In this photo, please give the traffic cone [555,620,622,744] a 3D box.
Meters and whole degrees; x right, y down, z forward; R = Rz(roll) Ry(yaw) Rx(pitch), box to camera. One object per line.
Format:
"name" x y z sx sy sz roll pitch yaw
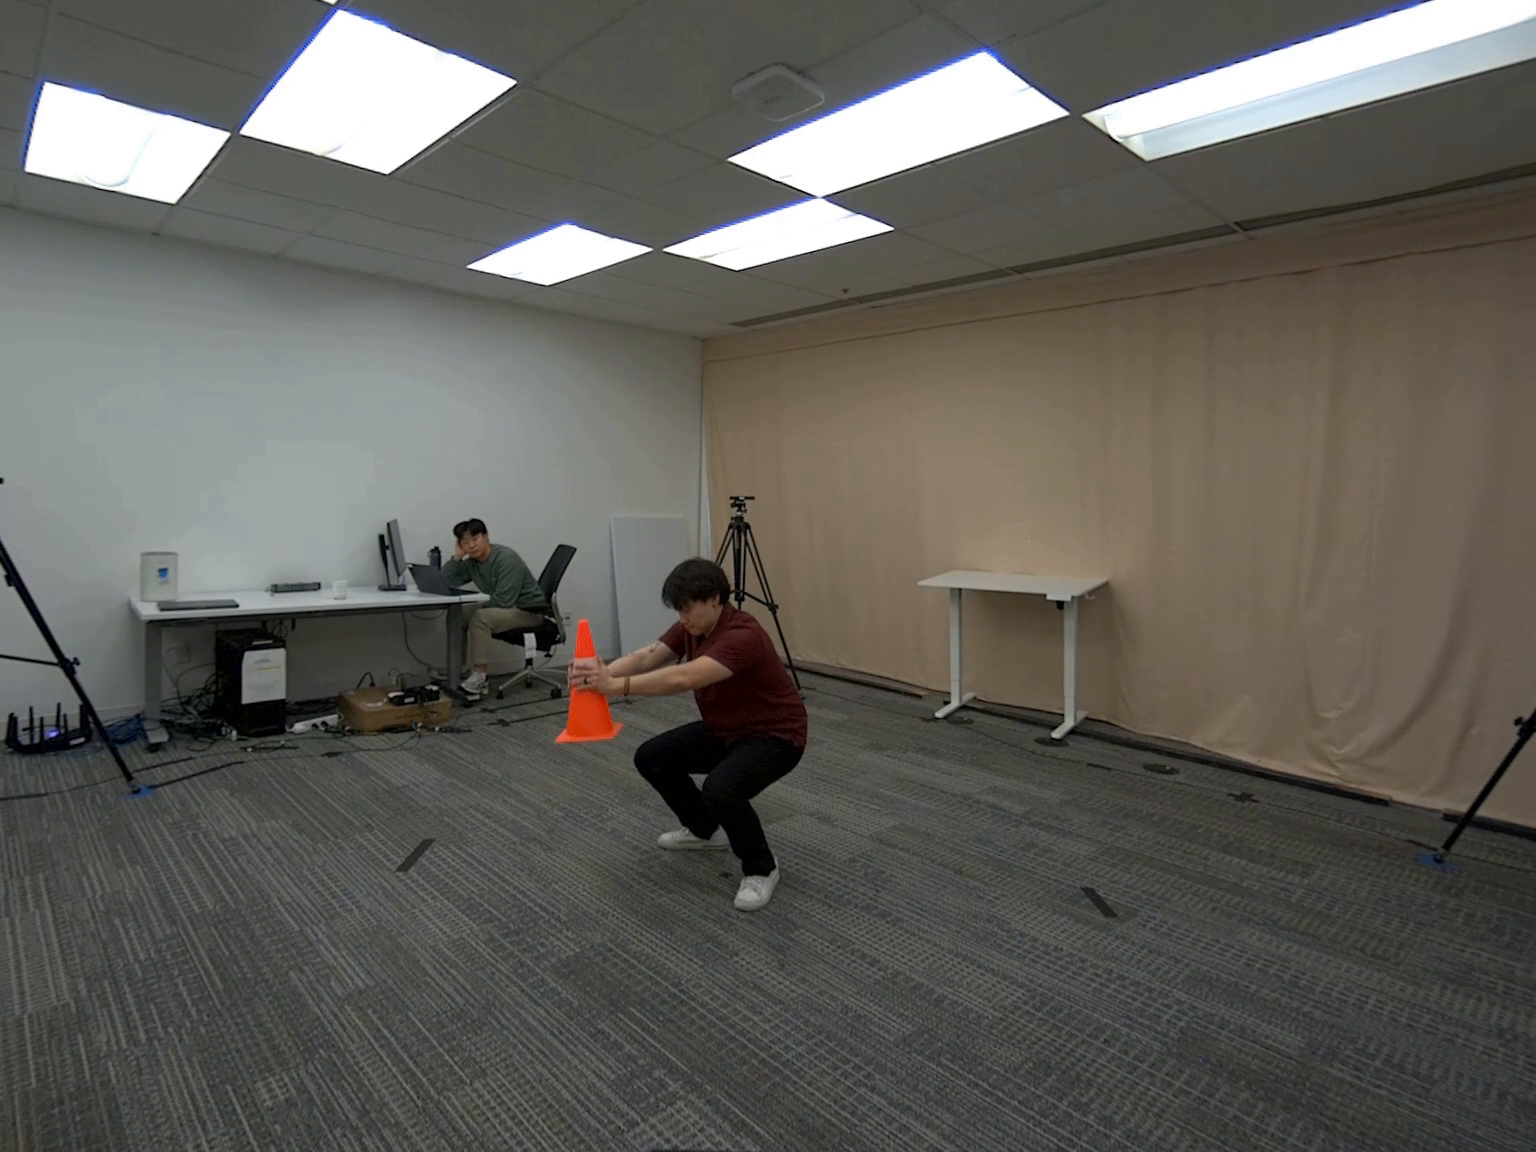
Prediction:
"traffic cone" -0.620 0.335 2.825 0.204 0.383 0.204 -3 3 5
